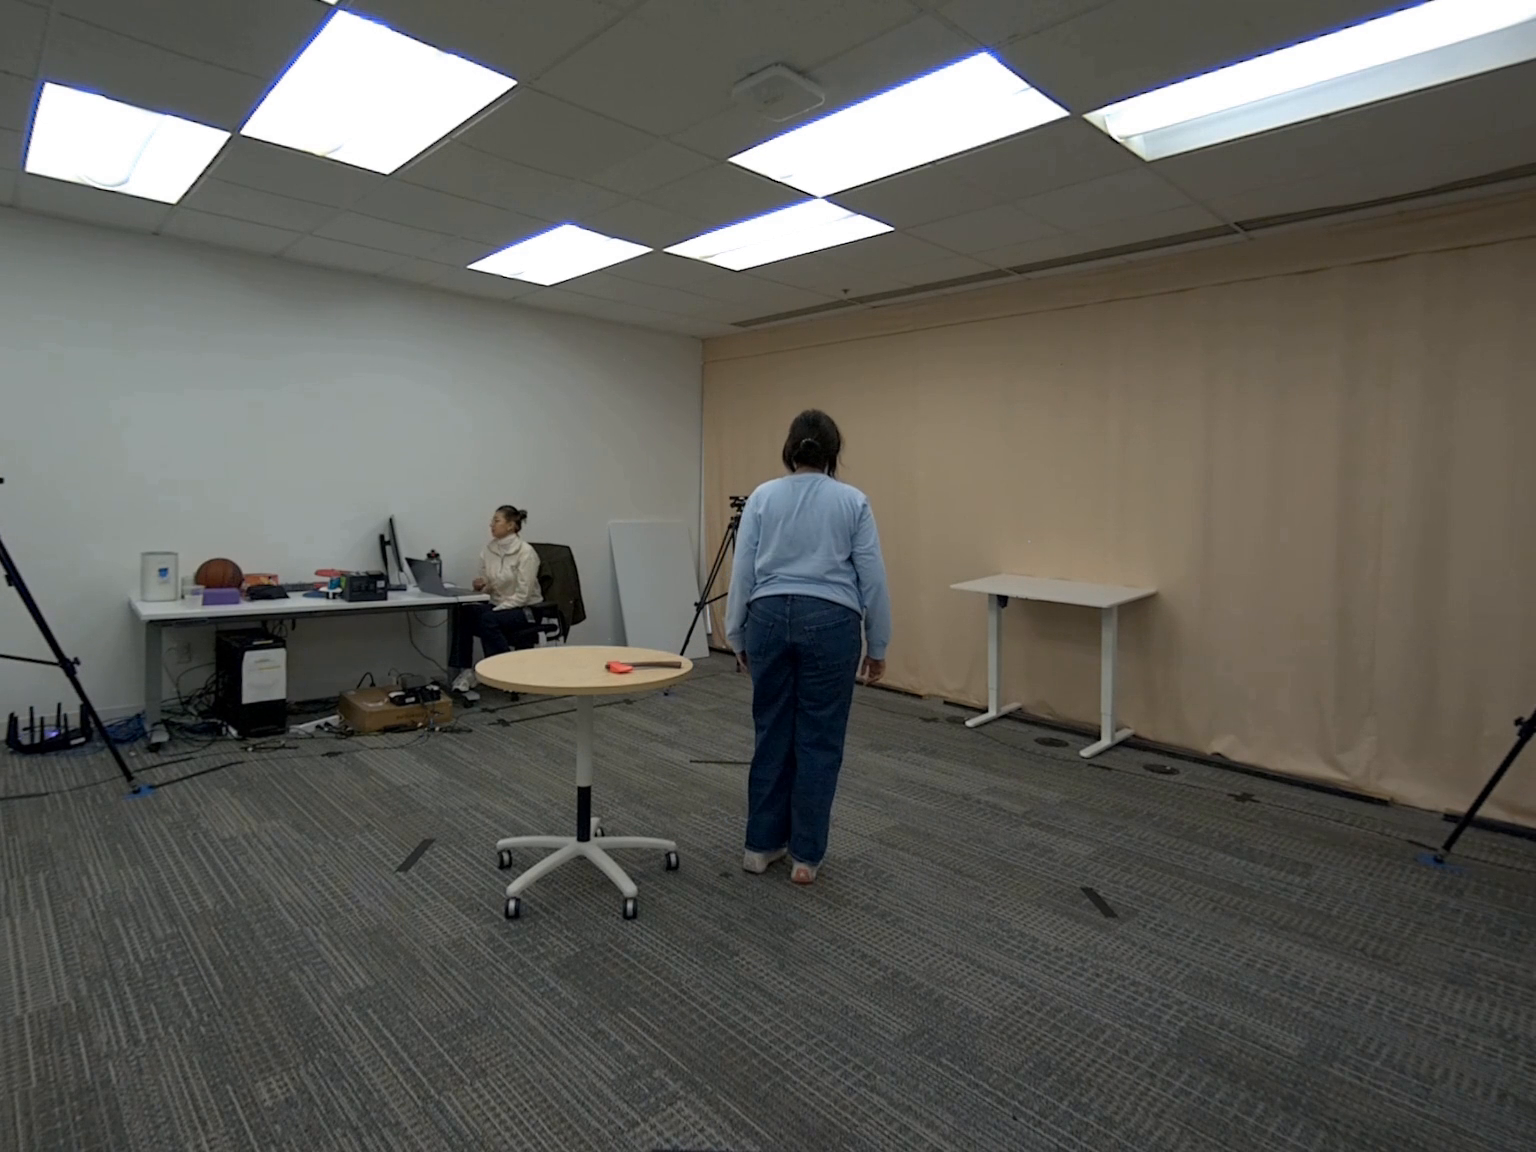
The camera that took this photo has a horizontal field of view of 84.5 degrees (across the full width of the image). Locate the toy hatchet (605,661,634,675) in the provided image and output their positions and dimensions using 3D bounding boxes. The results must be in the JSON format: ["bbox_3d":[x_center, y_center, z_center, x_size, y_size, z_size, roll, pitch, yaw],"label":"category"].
[{"bbox_3d":[-0.428,0.319,2.900,0.268,0.029,0.132,1,3,-8],"label":"toy hatchet"}]
